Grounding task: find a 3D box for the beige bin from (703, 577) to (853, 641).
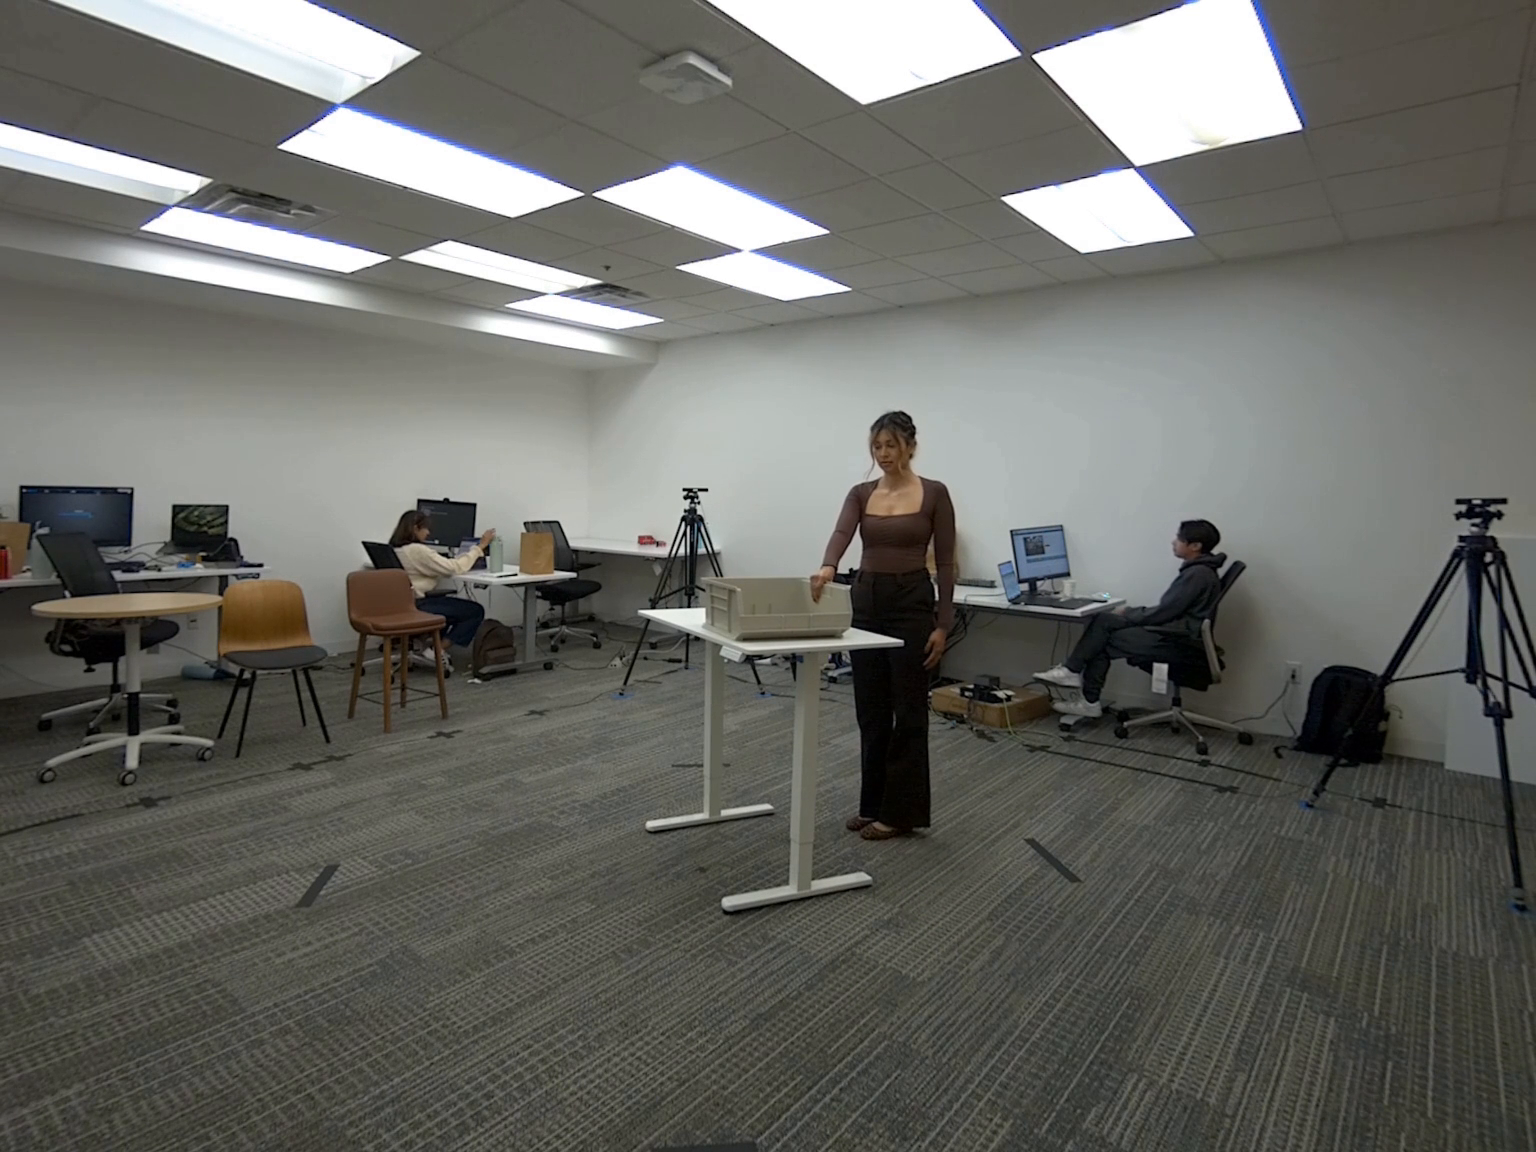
[{"bbox_3d":[0.016,0.110,3.003,0.413,0.188,0.387,-1,4,-24],"label":"beige bin"}]
